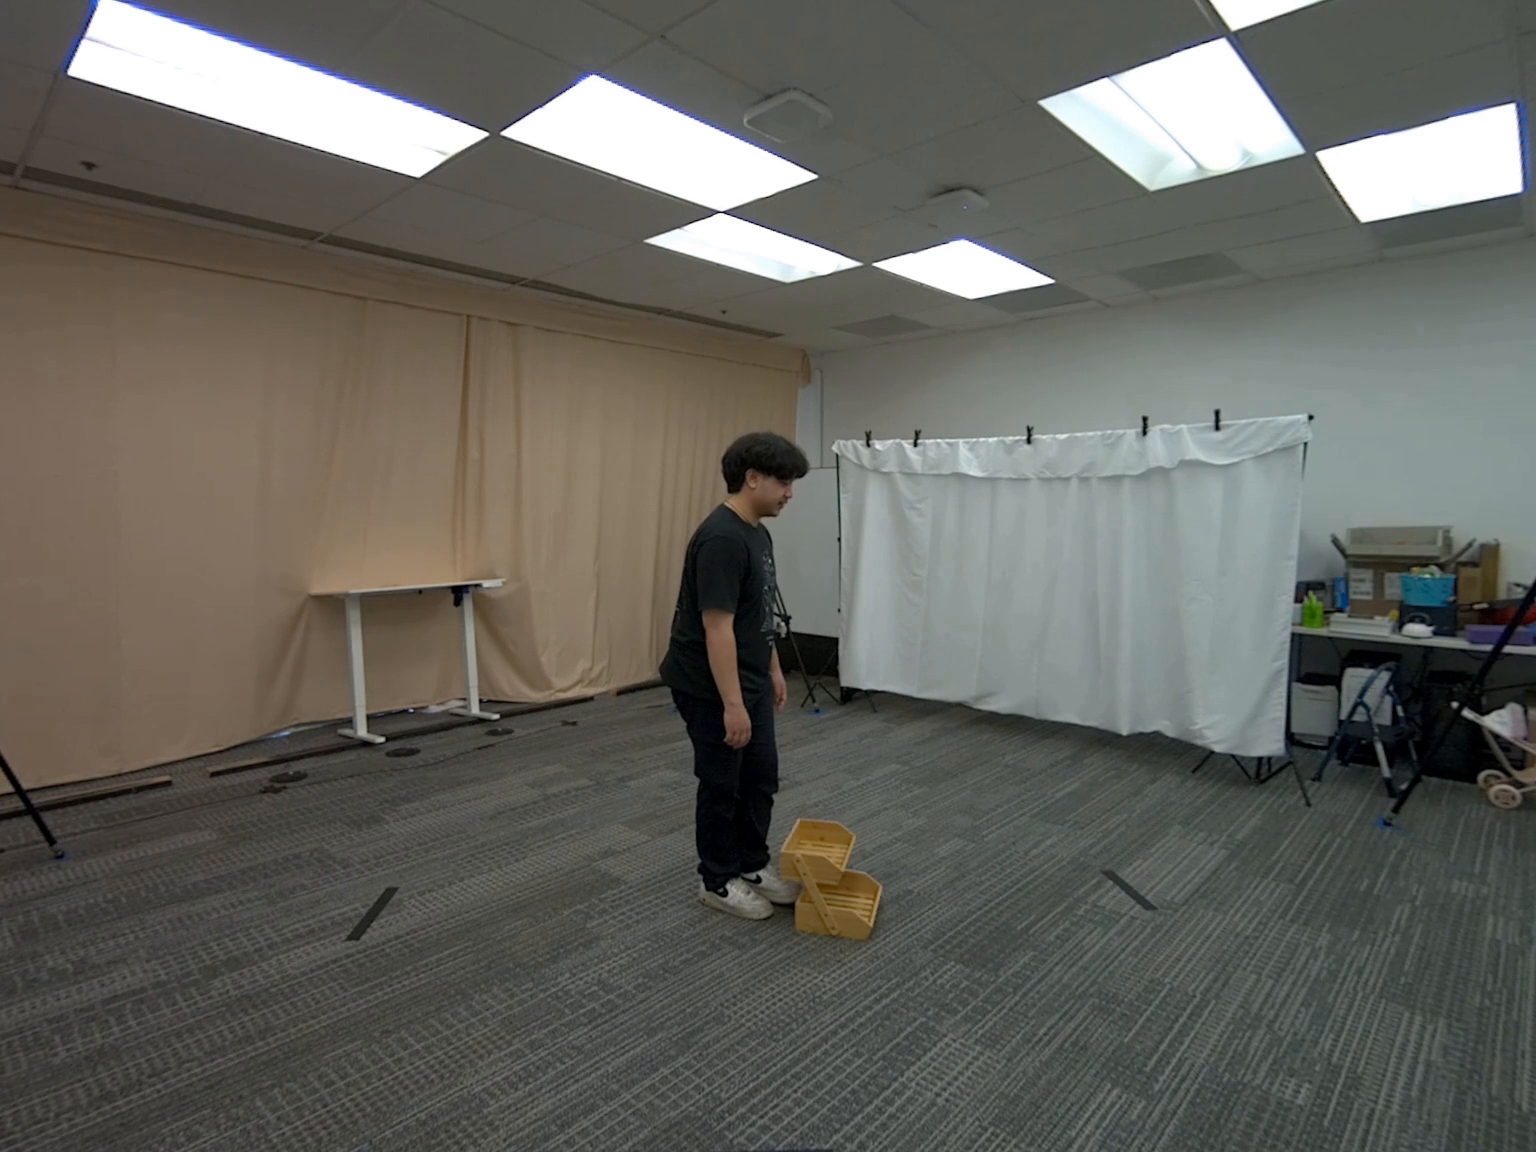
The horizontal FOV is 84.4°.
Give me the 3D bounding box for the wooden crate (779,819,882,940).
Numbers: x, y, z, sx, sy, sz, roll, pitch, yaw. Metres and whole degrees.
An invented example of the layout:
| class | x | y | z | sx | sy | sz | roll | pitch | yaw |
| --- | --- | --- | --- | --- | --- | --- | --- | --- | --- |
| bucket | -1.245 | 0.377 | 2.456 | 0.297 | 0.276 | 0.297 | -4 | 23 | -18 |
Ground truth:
| class | x | y | z | sx | sy | sz | roll | pitch | yaw |
| --- | --- | --- | --- | --- | --- | --- | --- | --- | --- |
| wooden crate | 0.232 | 1.021 | 2.863 | 0.307 | 0.273 | 0.320 | 1 | 4 | 15 |
